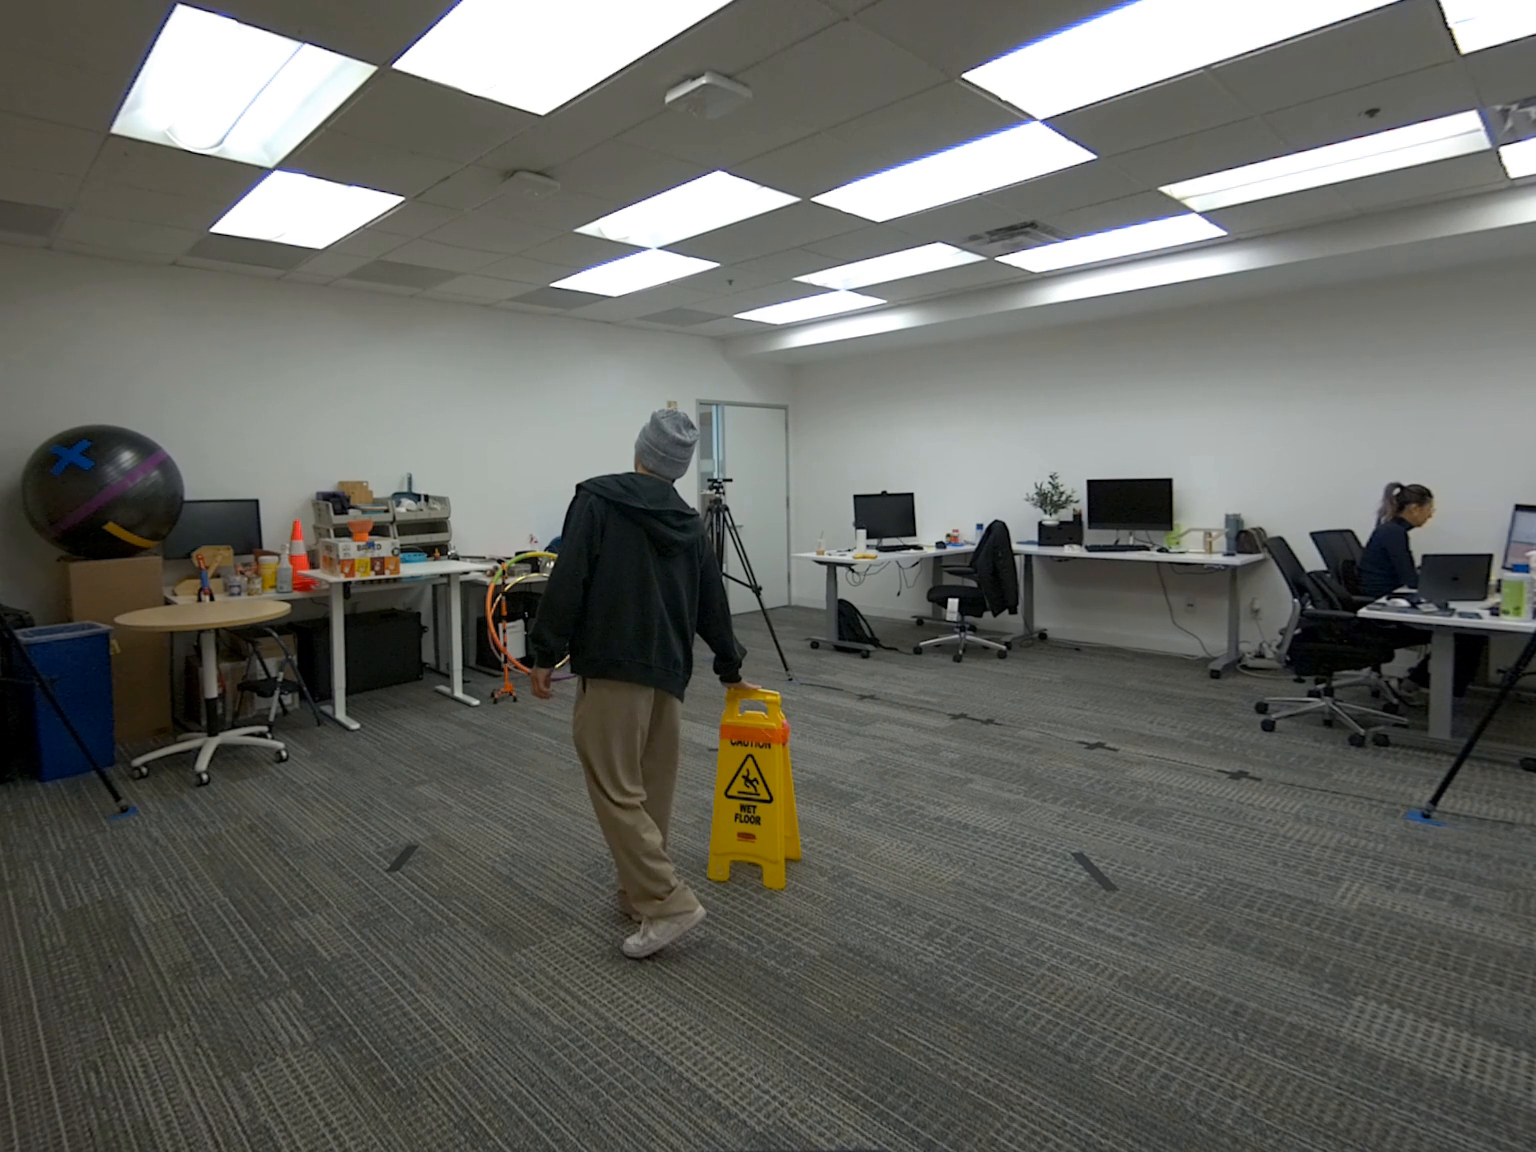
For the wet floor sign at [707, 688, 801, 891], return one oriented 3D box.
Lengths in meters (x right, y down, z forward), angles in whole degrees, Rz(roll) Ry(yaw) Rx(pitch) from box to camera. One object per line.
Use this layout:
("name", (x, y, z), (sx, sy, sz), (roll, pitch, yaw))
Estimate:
("wet floor sign", (-0.048, 0.729, 3.036), (0.287, 0.643, 0.286), (-1, 5, 17))
